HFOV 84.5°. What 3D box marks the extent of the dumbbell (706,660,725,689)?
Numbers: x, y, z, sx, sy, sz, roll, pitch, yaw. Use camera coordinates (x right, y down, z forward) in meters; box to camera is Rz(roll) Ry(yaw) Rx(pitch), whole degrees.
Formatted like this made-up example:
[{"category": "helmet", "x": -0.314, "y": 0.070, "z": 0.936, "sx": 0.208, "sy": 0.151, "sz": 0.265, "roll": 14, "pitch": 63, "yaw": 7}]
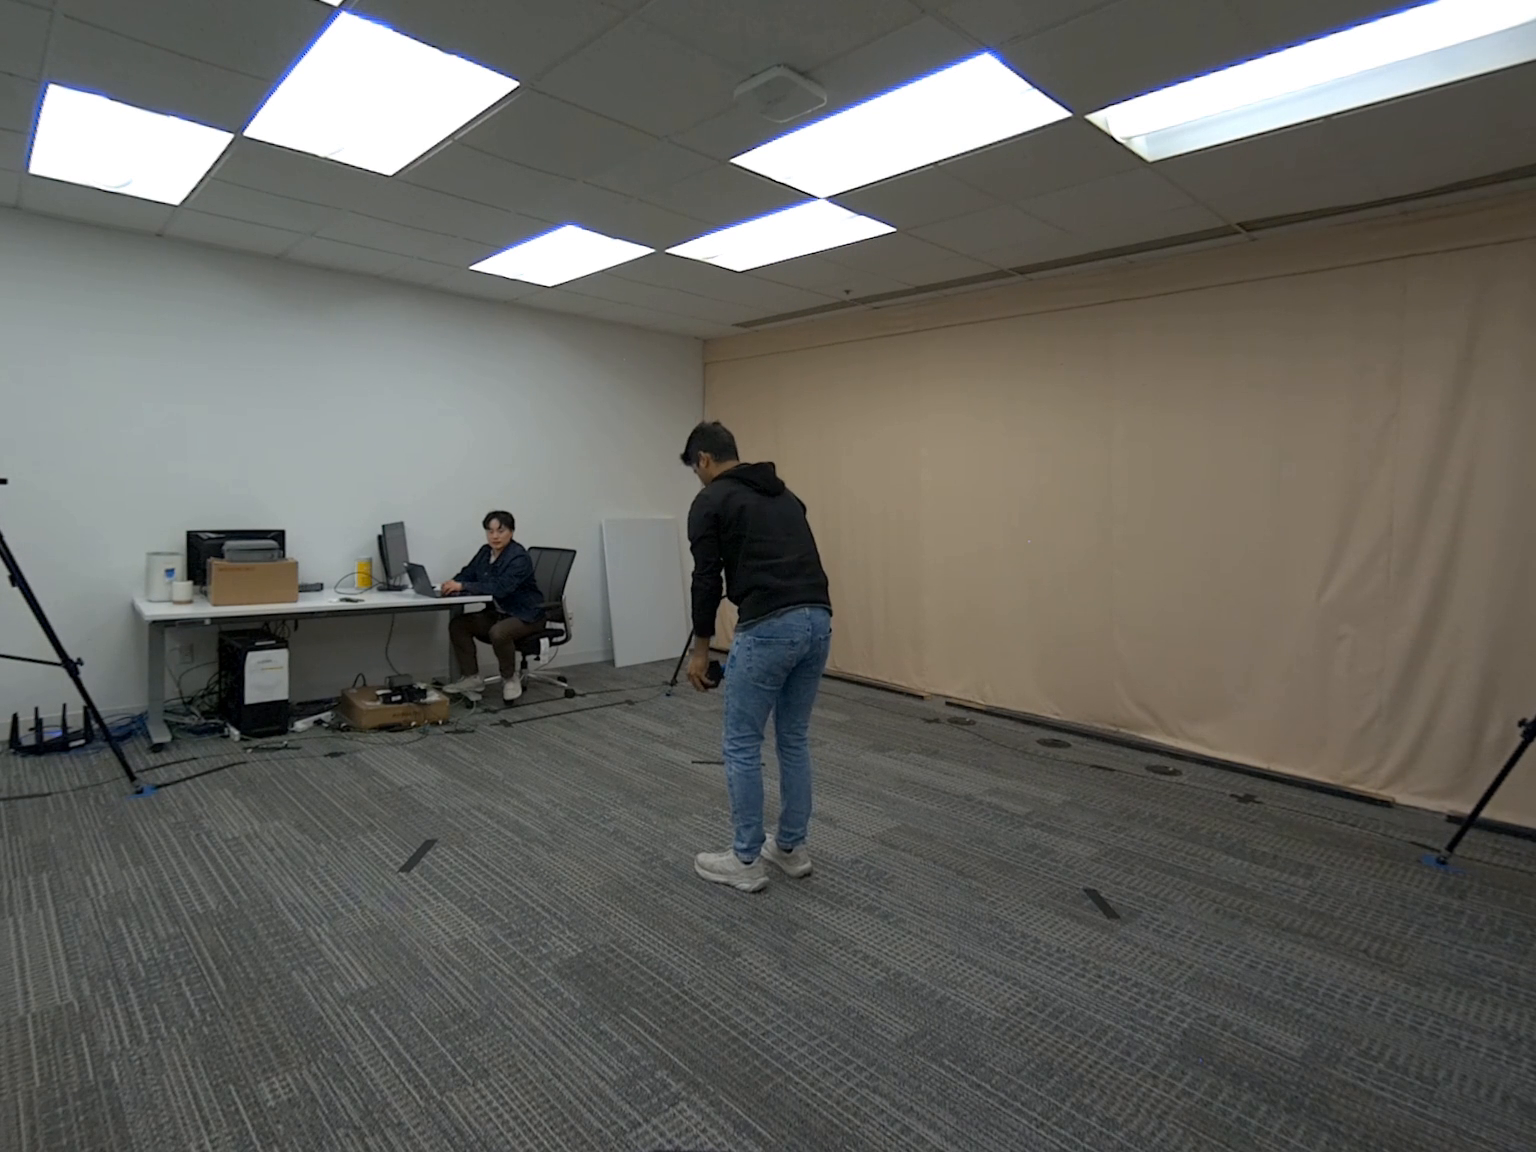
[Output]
[{"category": "dumbbell", "x": -0.153, "y": 0.367, "z": 3.252, "sx": 0.287, "sy": 0.108, "sz": 0.126, "roll": -2, "pitch": 10, "yaw": -35}]
